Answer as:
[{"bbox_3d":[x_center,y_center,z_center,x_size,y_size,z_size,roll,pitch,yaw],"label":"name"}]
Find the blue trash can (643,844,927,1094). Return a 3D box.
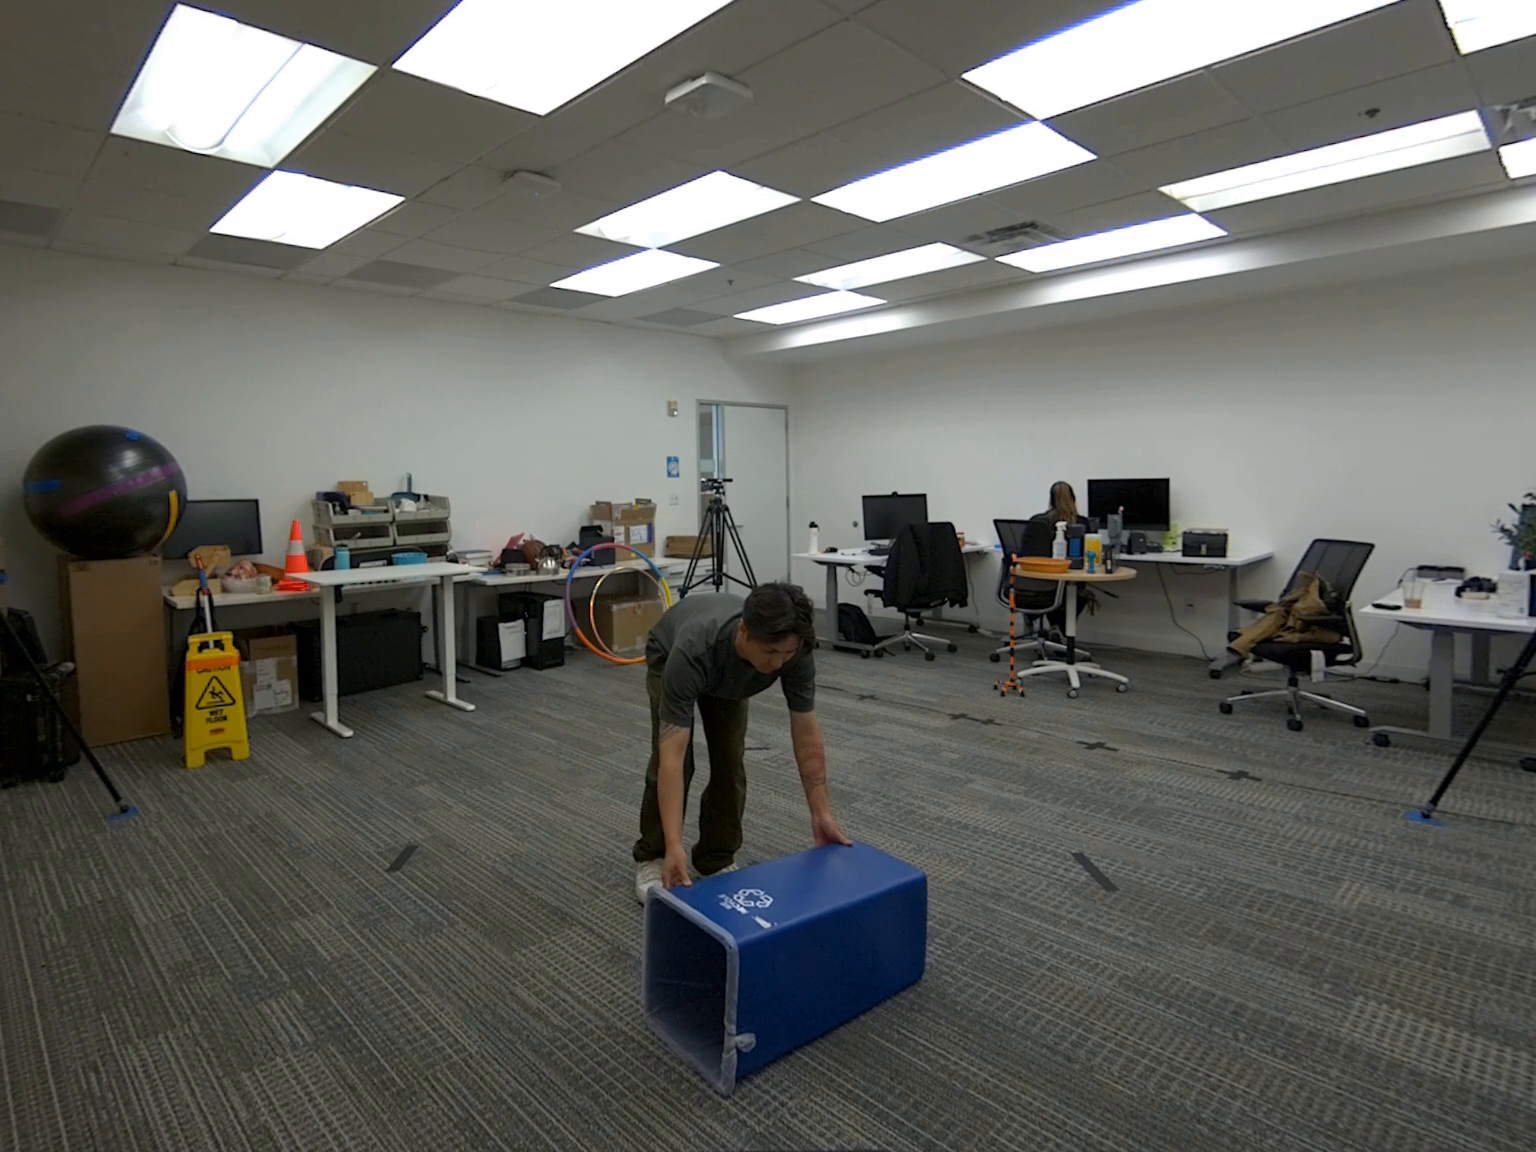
[{"bbox_3d":[0.076,0.969,2.269,0.695,0.373,0.389,-4,6,-39],"label":"blue trash can"}]
